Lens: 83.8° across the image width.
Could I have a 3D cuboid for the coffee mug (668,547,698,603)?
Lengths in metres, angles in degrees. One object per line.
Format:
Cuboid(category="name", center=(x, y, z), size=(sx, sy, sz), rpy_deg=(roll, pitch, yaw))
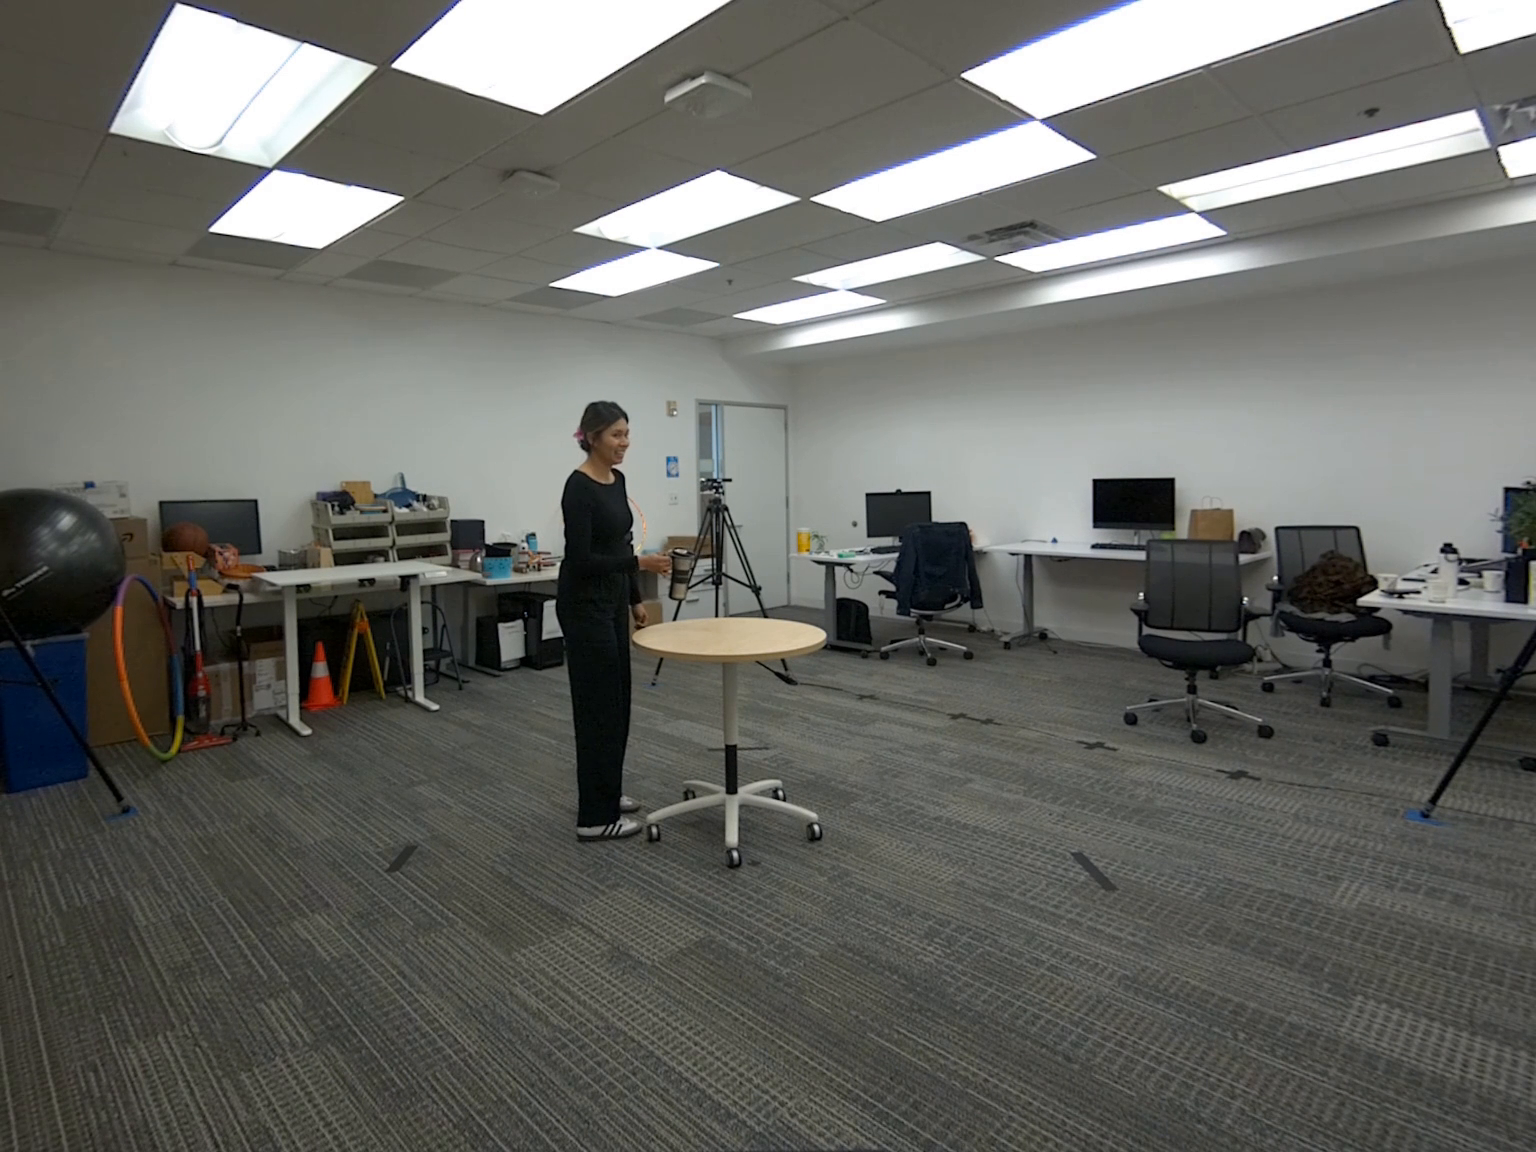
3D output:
Cuboid(category="coffee mug", center=(-0.358, -0.014, 3.436), size=(0.085, 0.201, 0.126), rpy_deg=(-5, 19, -44))
